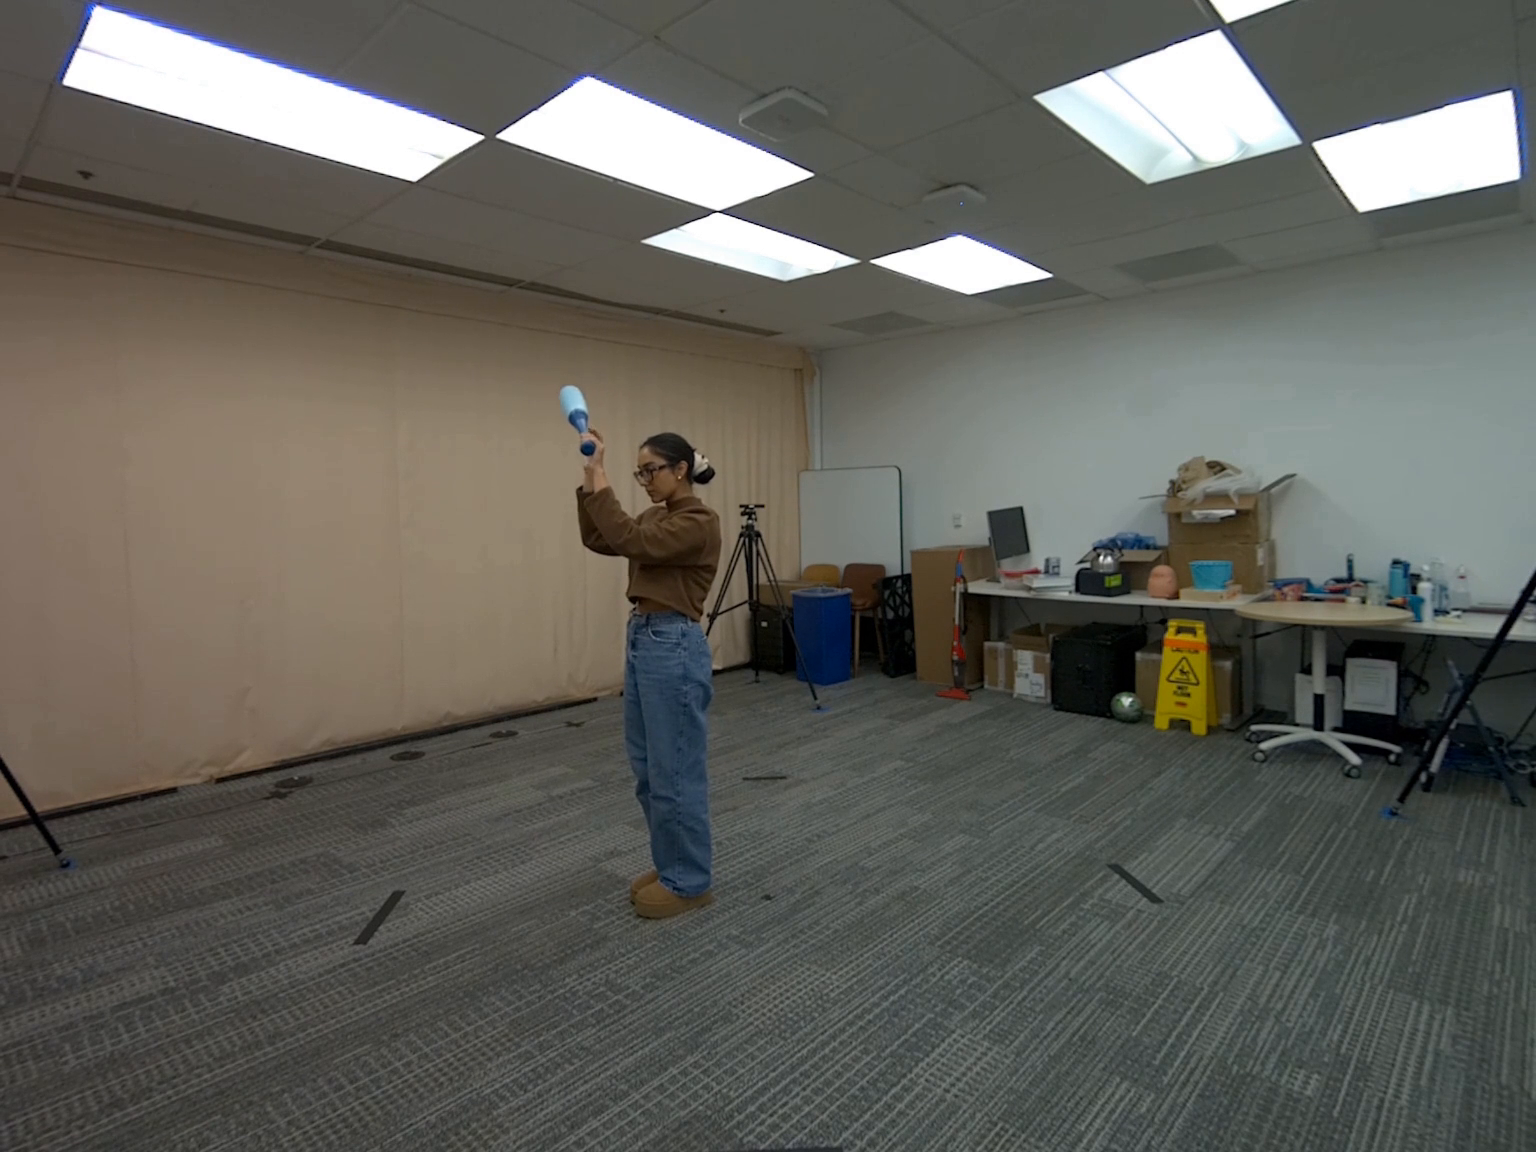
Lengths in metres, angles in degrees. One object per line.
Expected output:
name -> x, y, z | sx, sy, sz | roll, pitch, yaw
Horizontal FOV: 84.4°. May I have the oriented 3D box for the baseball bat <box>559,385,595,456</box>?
baseball bat -> -0.638, -0.541, 2.902 | 0.087, 0.088, 0.560 | -3, 29, -20
